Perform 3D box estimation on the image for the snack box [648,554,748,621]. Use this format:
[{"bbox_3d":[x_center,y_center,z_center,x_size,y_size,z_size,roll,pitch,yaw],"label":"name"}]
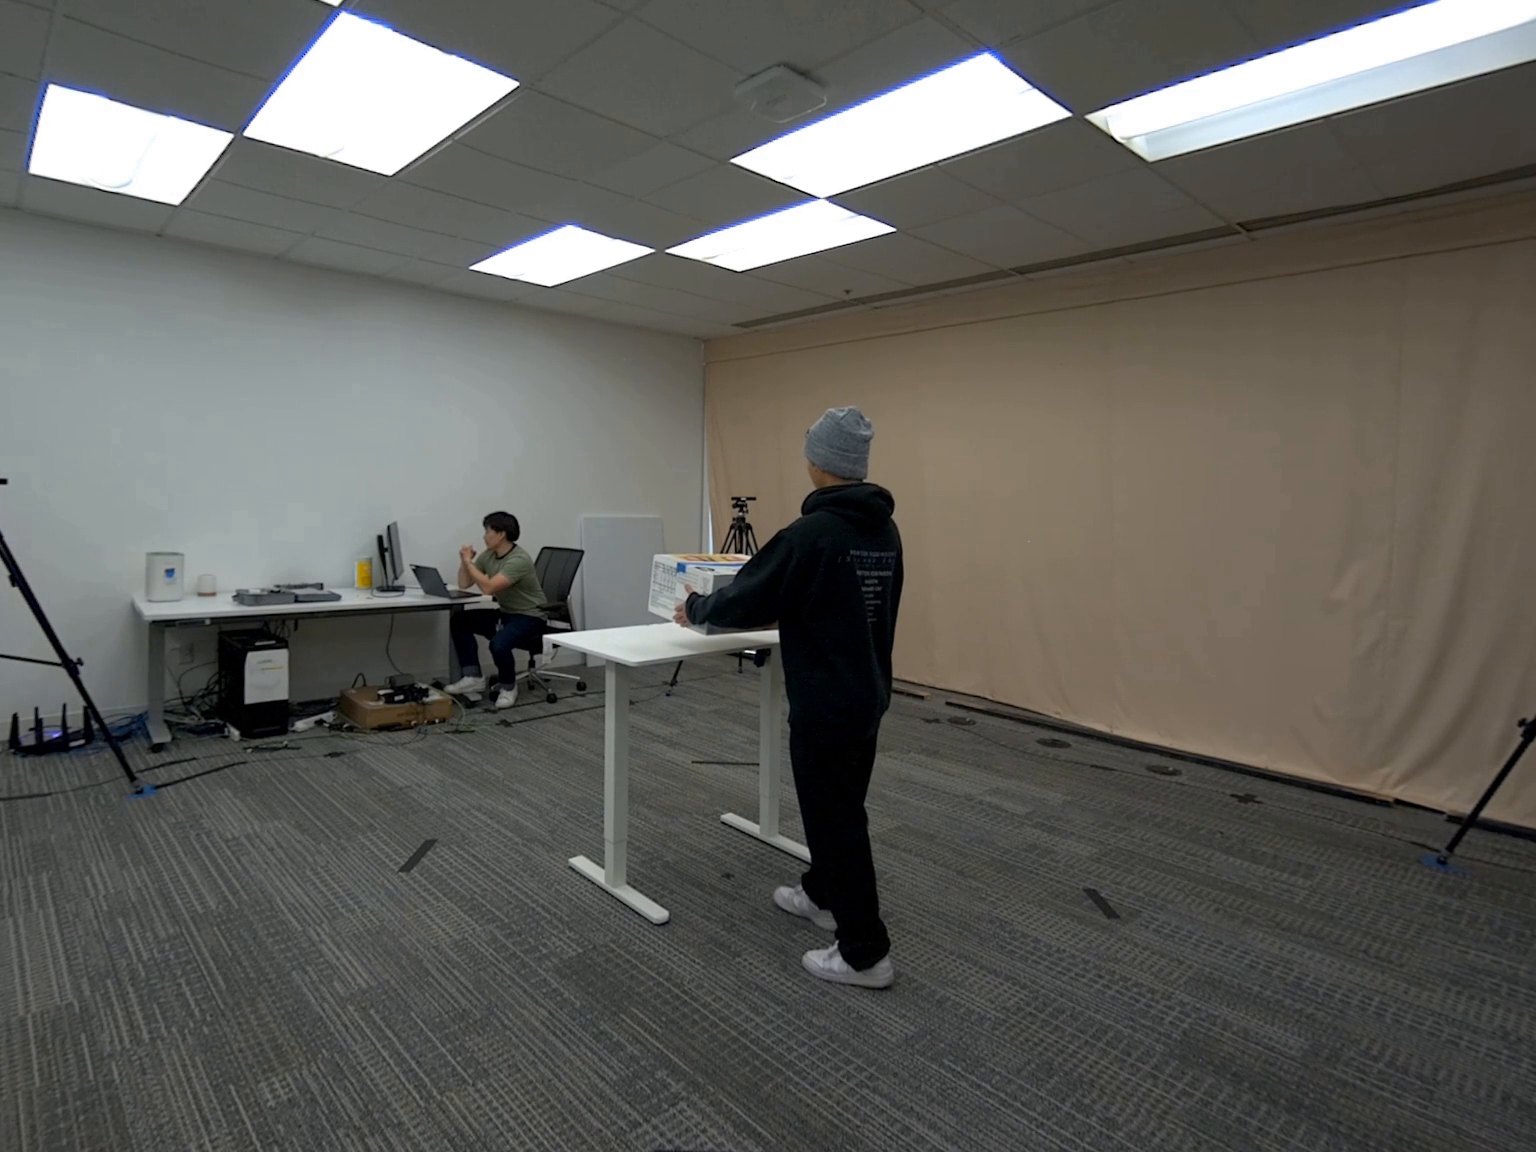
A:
[{"bbox_3d":[-0.146,0.057,2.901,0.396,0.204,0.350,-1,11,-41],"label":"snack box"}]
